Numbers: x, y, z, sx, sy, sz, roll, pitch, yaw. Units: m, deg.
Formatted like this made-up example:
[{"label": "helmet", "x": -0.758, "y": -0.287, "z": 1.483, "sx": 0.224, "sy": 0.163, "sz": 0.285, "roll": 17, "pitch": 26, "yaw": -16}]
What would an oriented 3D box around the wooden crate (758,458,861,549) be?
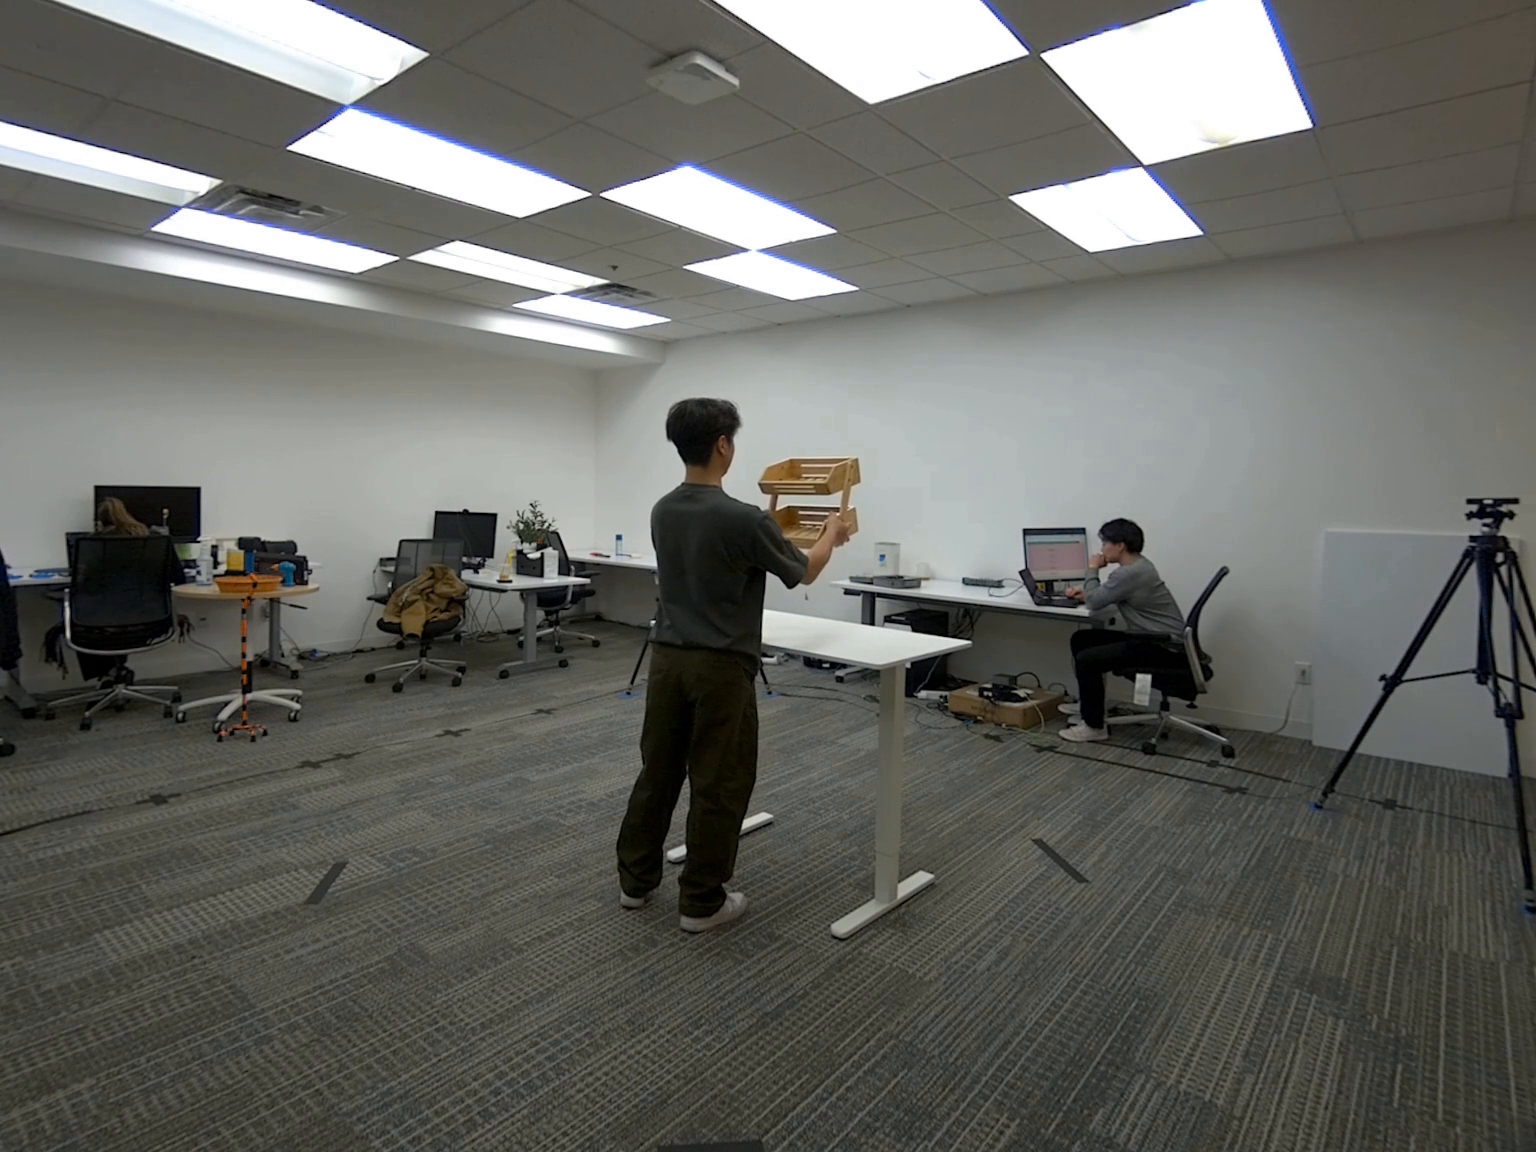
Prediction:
[{"label": "wooden crate", "x": 0.119, "y": -0.269, "z": 3.033, "sx": 0.335, "sy": 0.269, "sz": 0.297, "roll": 5, "pitch": 20, "yaw": 40}]
